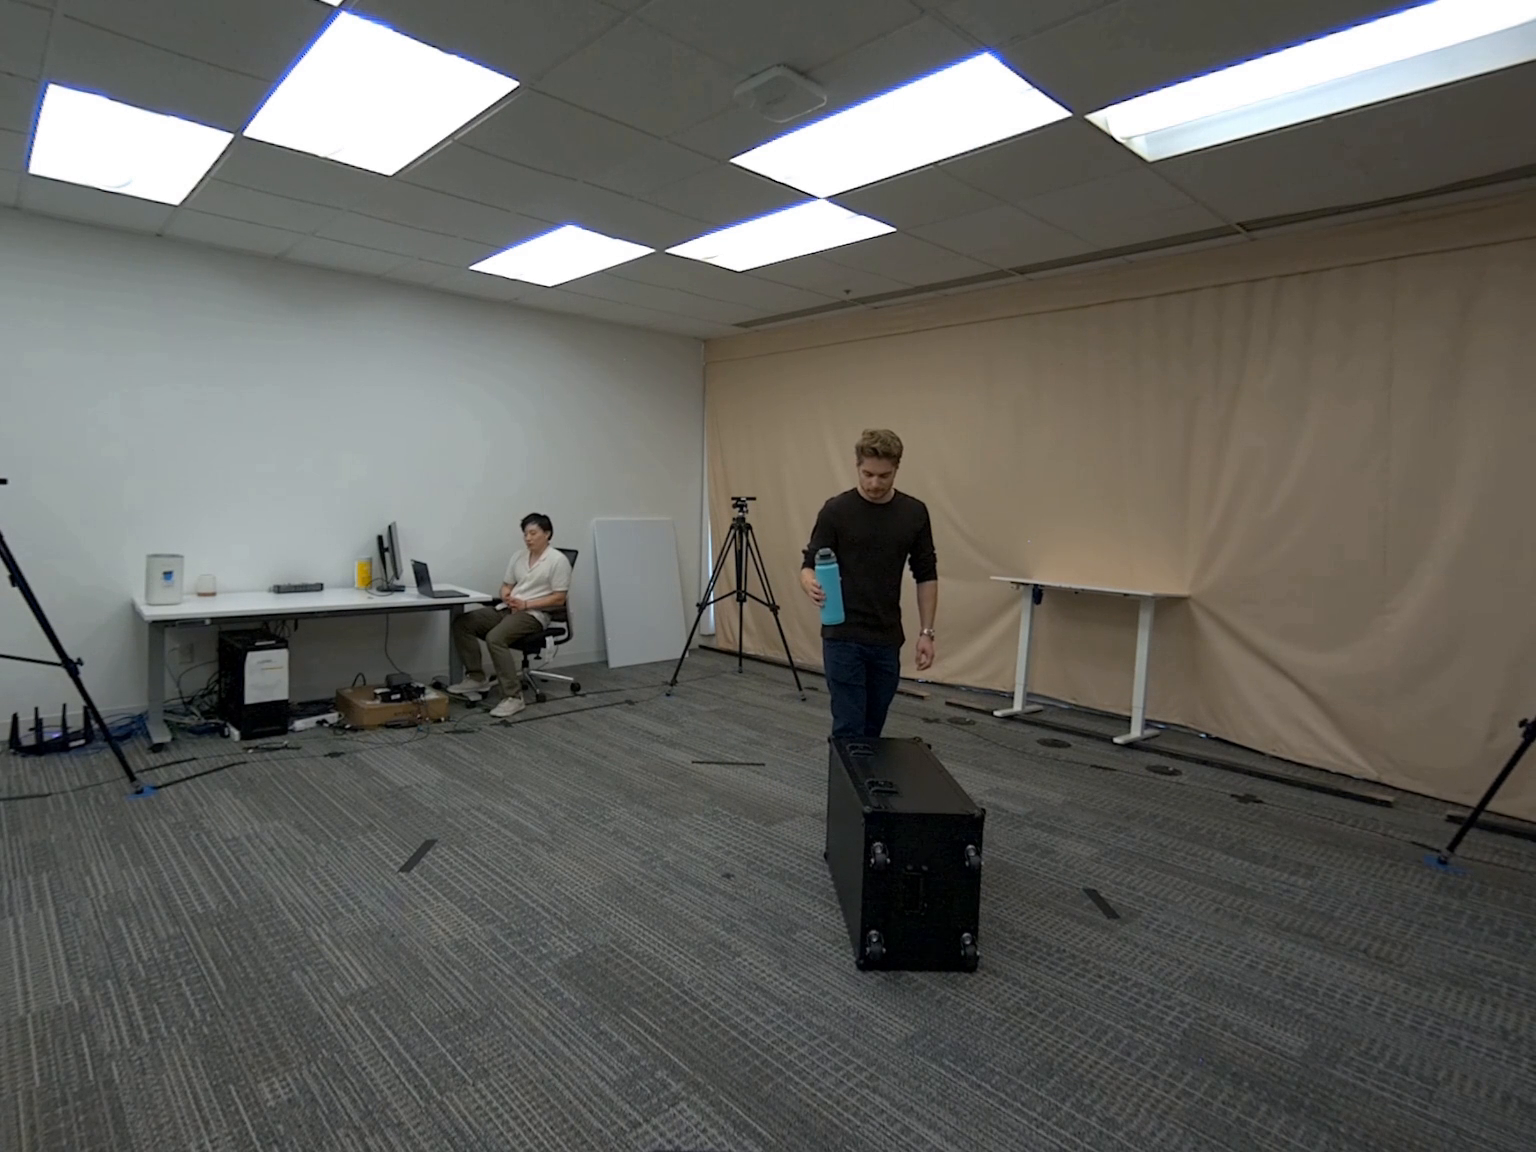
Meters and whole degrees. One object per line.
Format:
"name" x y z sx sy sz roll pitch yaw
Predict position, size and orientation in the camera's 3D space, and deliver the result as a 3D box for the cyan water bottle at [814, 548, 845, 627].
"cyan water bottle" 0.223 0.036 3.181 0.092 0.281 0.093 -7 8 0
